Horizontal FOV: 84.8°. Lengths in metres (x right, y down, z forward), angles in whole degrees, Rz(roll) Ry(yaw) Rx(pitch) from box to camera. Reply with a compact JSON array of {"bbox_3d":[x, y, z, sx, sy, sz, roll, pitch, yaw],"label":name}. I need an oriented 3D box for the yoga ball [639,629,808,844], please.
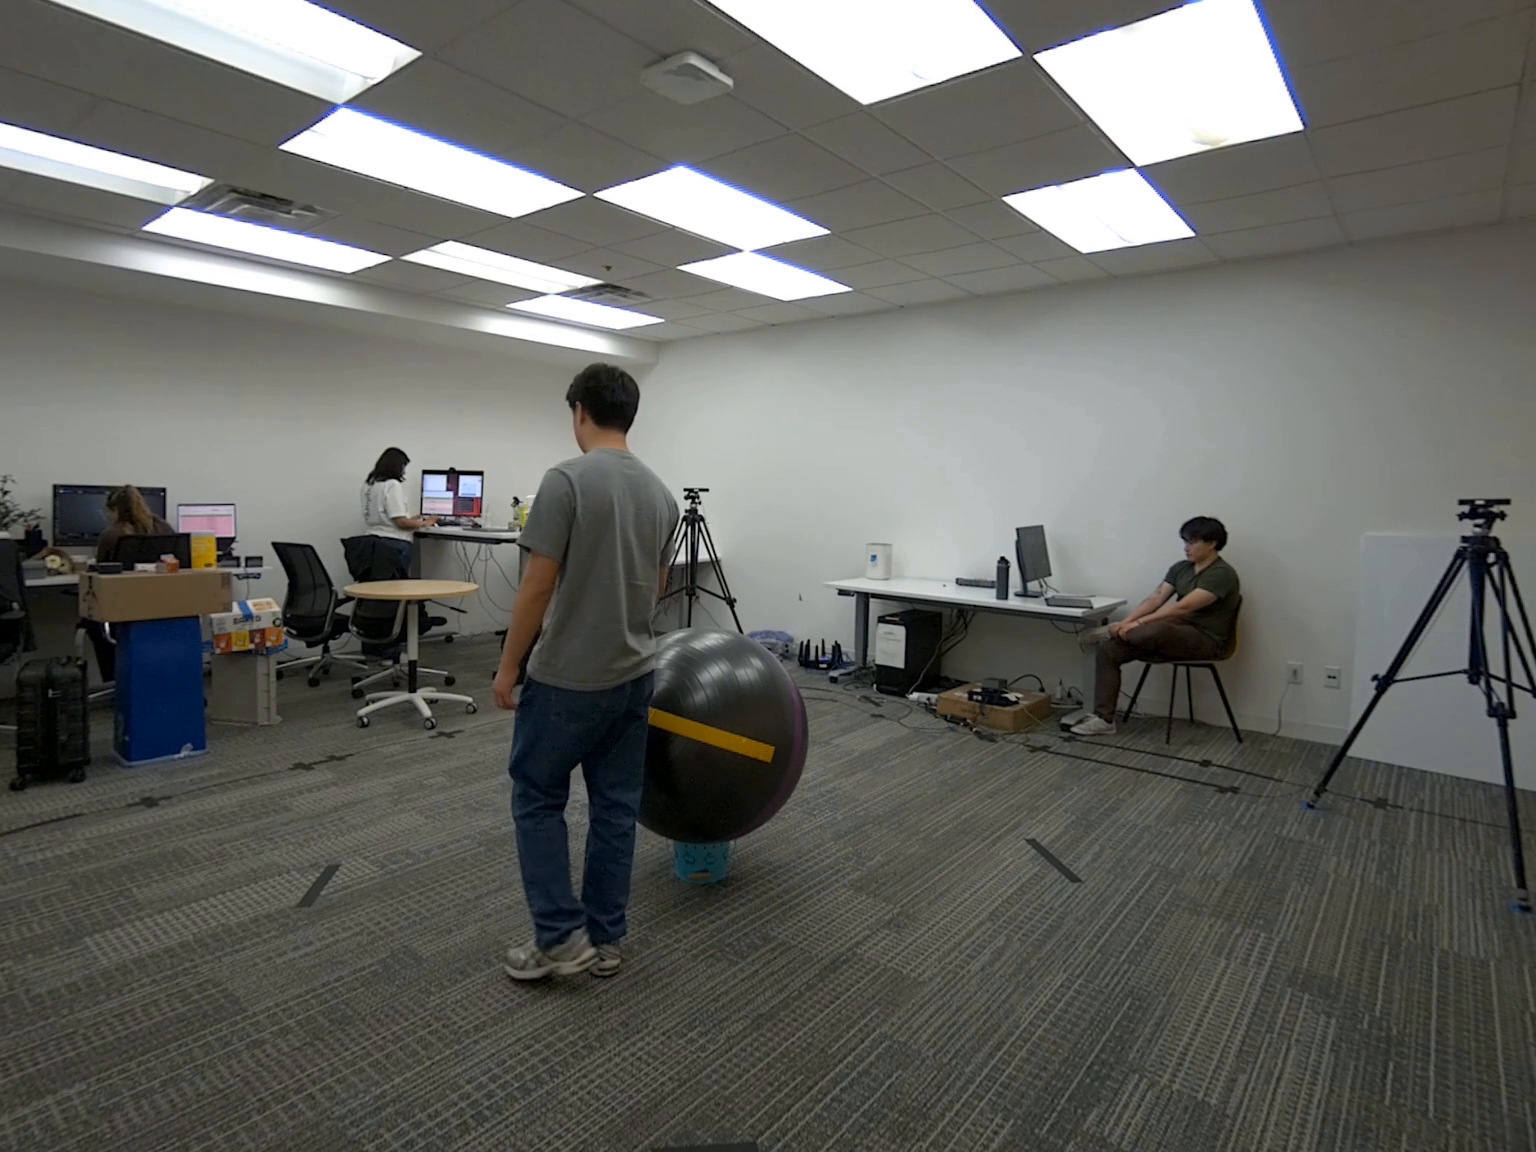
[{"bbox_3d":[-0.244,0.561,3.064,0.757,0.755,0.762,1,4,-2],"label":"yoga ball"}]
